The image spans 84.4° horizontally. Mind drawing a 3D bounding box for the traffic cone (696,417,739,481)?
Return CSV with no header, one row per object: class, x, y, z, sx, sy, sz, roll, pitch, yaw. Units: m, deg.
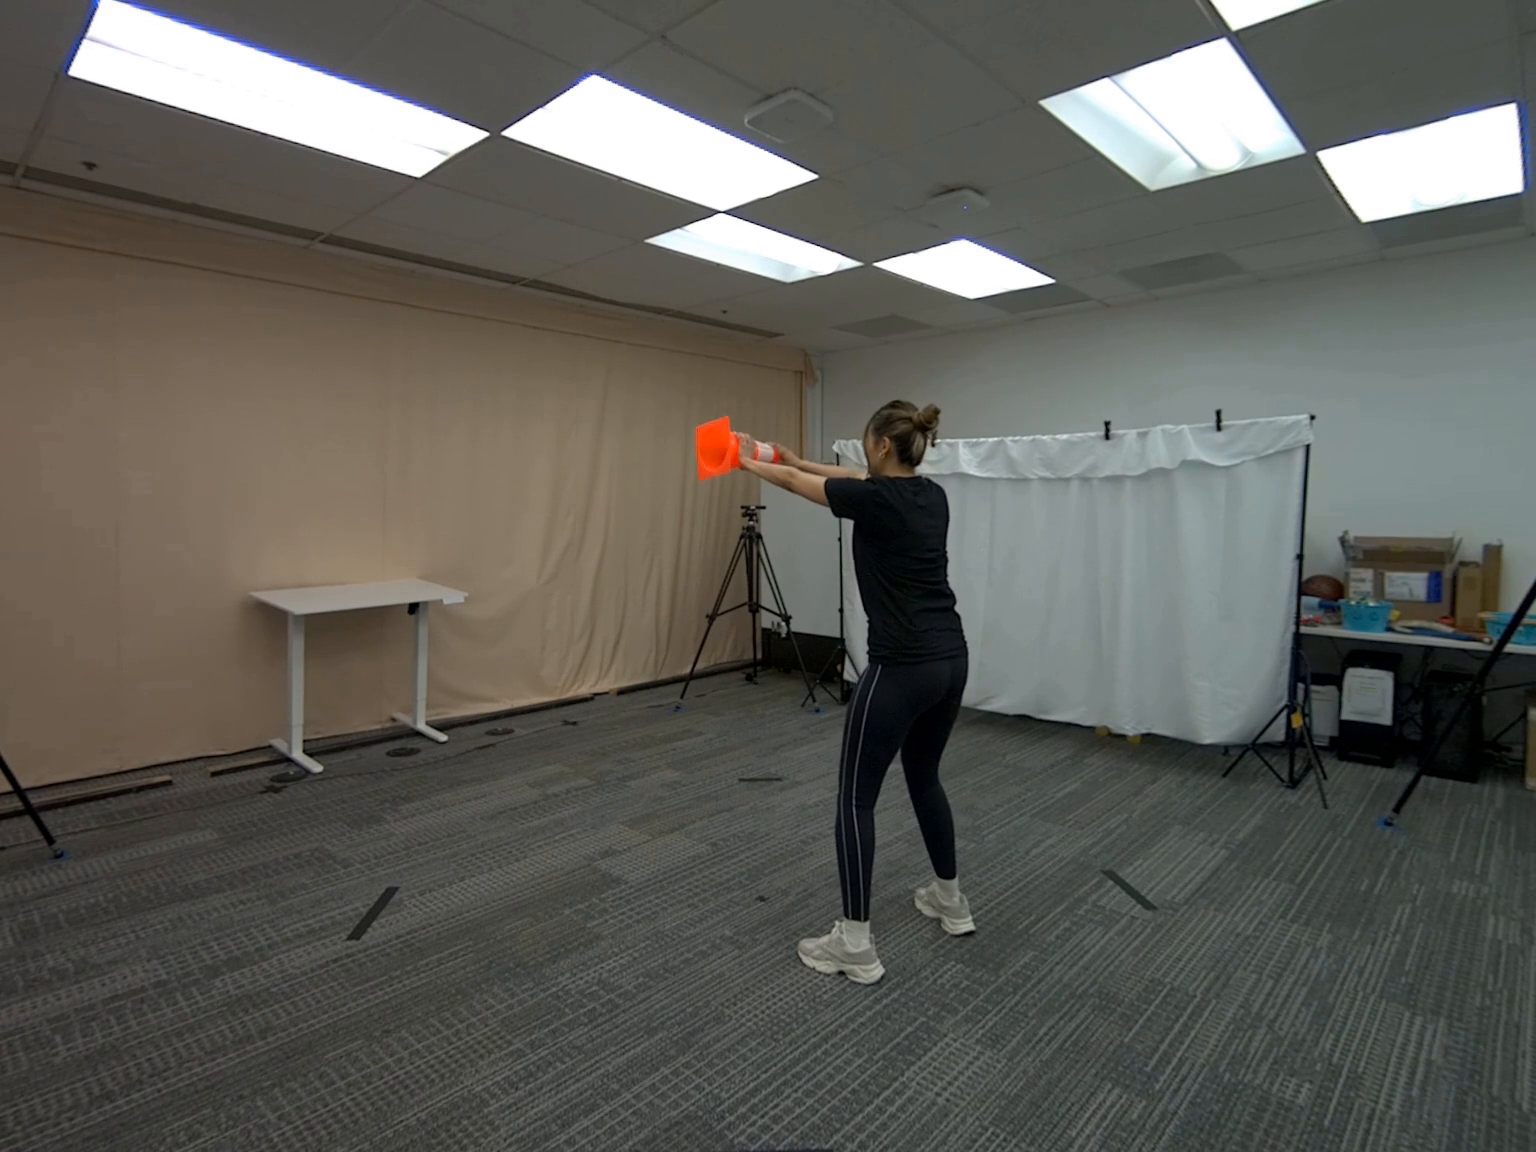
traffic cone,-0.050,-0.437,3.107,0.372,0.206,0.209,2,-6,-38
